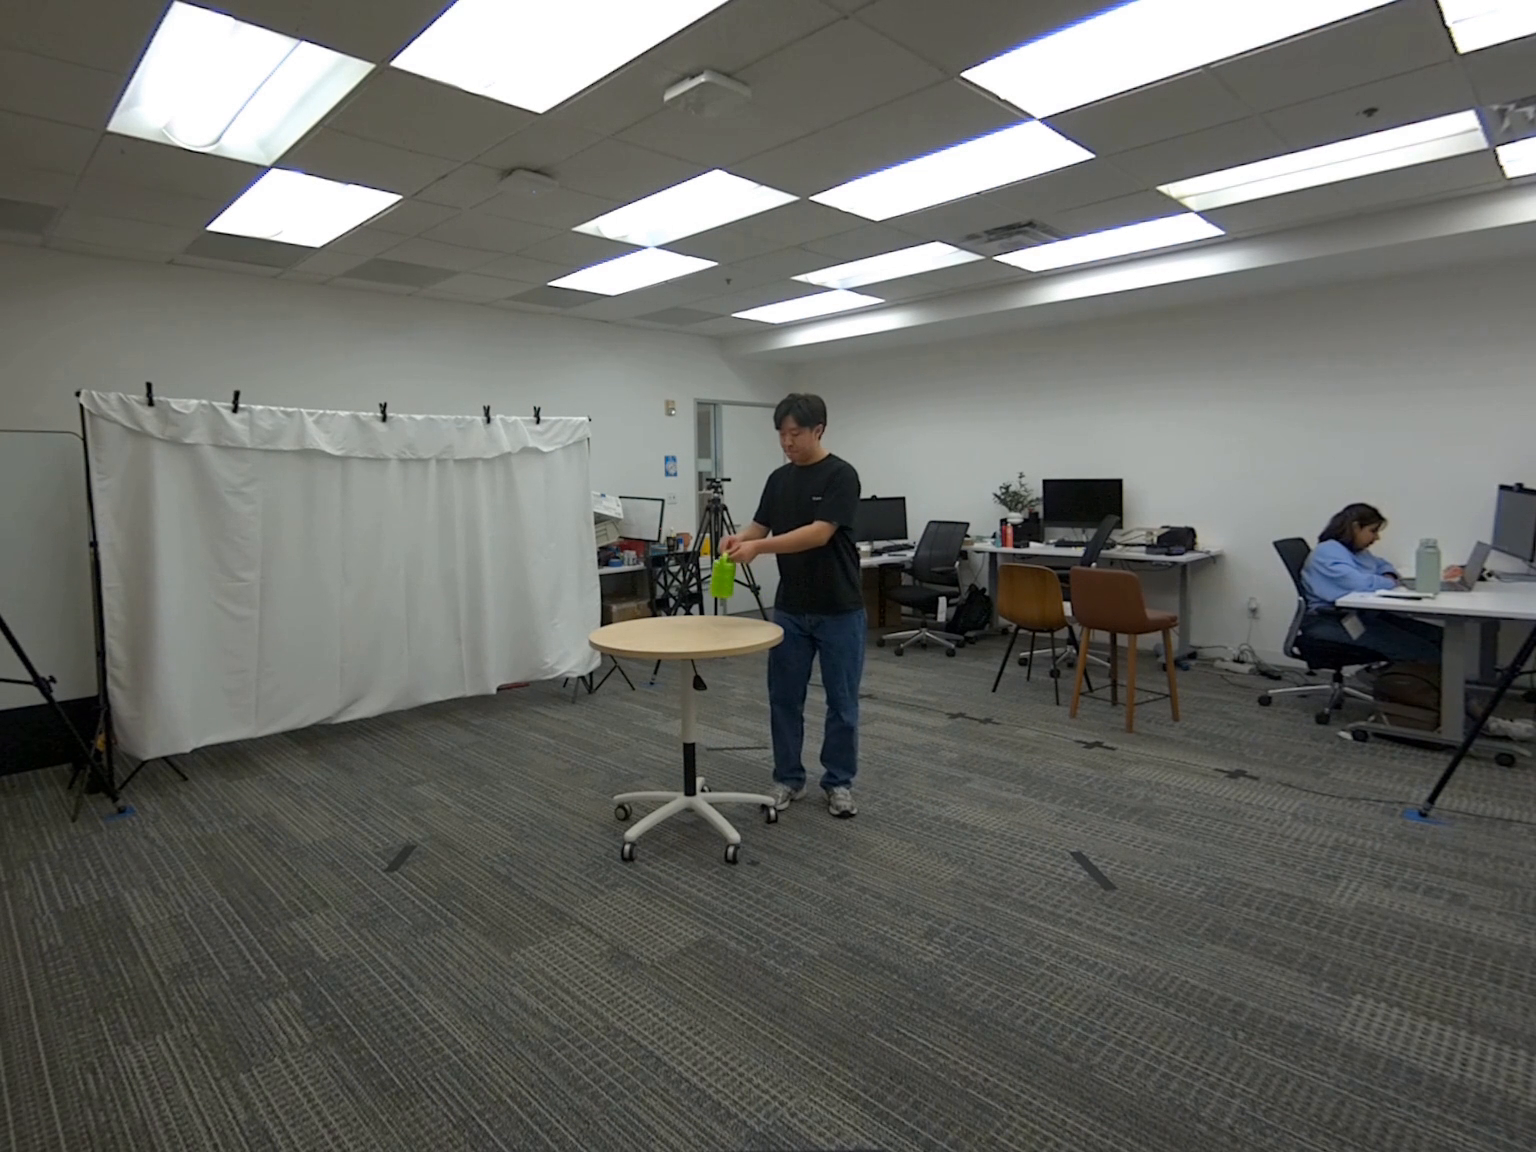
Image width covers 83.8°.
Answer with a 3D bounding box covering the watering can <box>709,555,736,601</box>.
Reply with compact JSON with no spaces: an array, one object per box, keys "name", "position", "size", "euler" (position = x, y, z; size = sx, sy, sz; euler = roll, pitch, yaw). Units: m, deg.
[{"name":"watering can","position":[-0.182,-0.002,3.366],"size":[0.100,0.176,0.274],"euler":[10,6,17]}]
